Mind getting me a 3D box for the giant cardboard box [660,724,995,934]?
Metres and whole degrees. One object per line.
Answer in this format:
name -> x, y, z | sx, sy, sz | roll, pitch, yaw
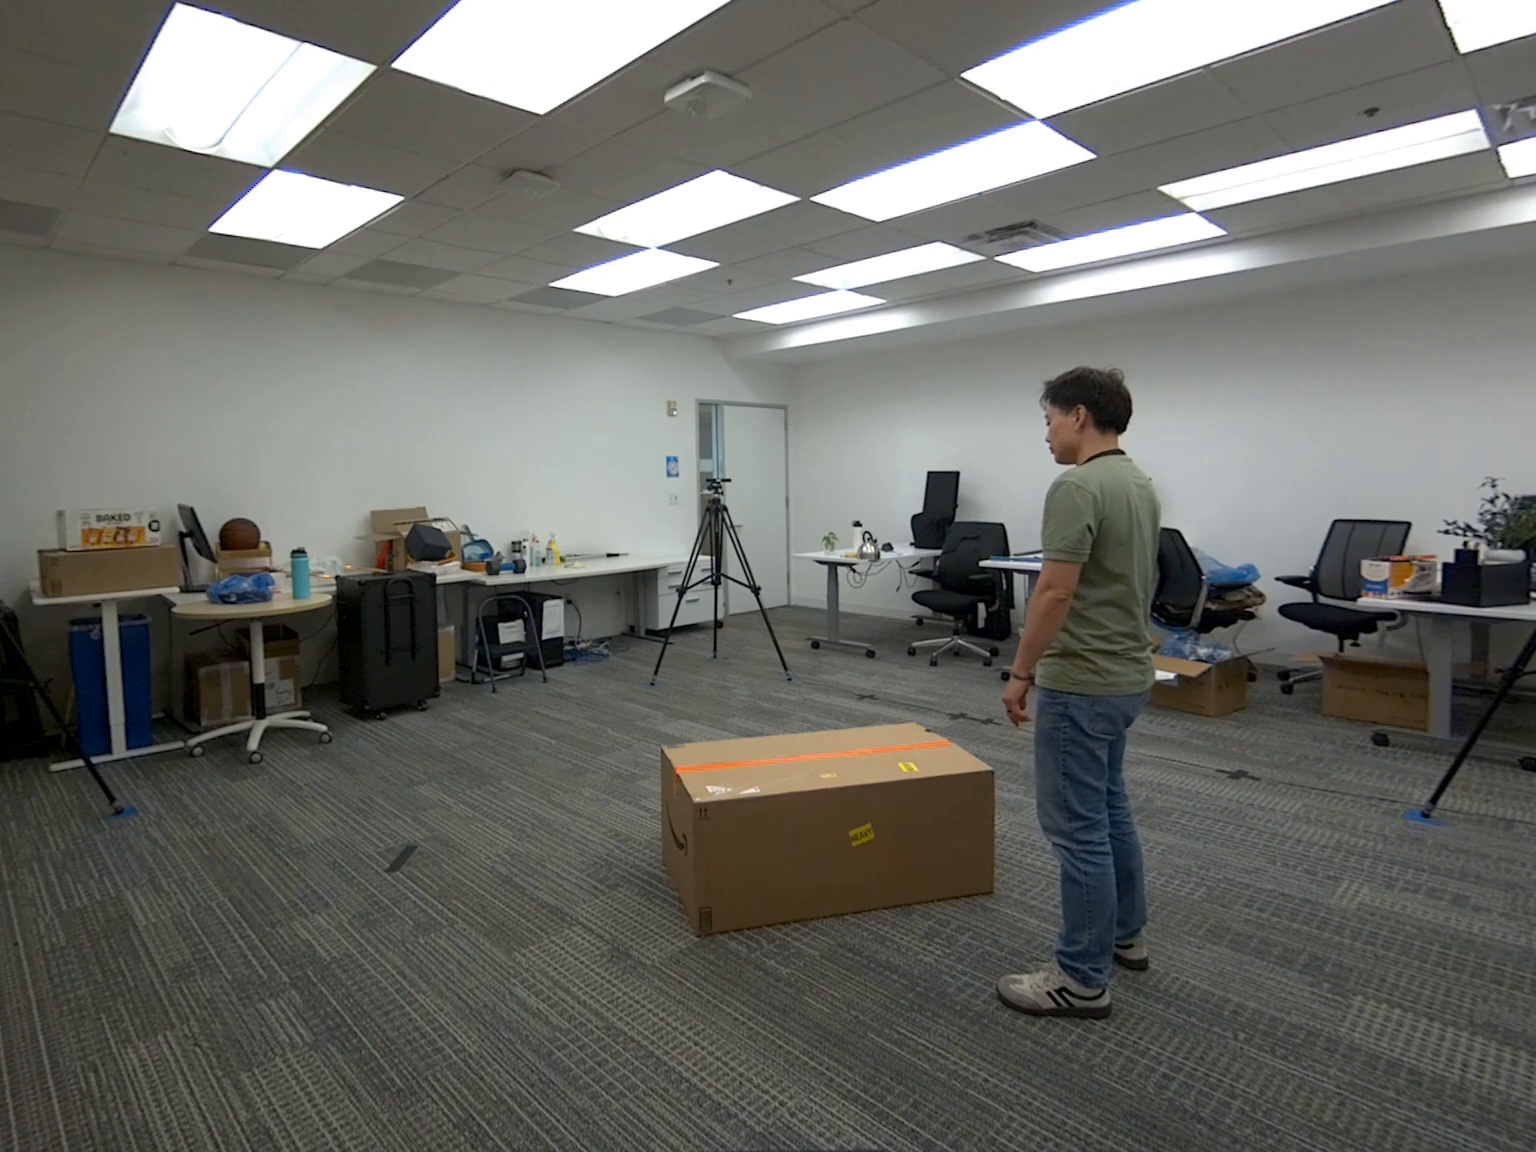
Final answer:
giant cardboard box -> 0.181, 0.834, 2.994 | 1.012, 0.424, 0.588 | -2, 7, -15
